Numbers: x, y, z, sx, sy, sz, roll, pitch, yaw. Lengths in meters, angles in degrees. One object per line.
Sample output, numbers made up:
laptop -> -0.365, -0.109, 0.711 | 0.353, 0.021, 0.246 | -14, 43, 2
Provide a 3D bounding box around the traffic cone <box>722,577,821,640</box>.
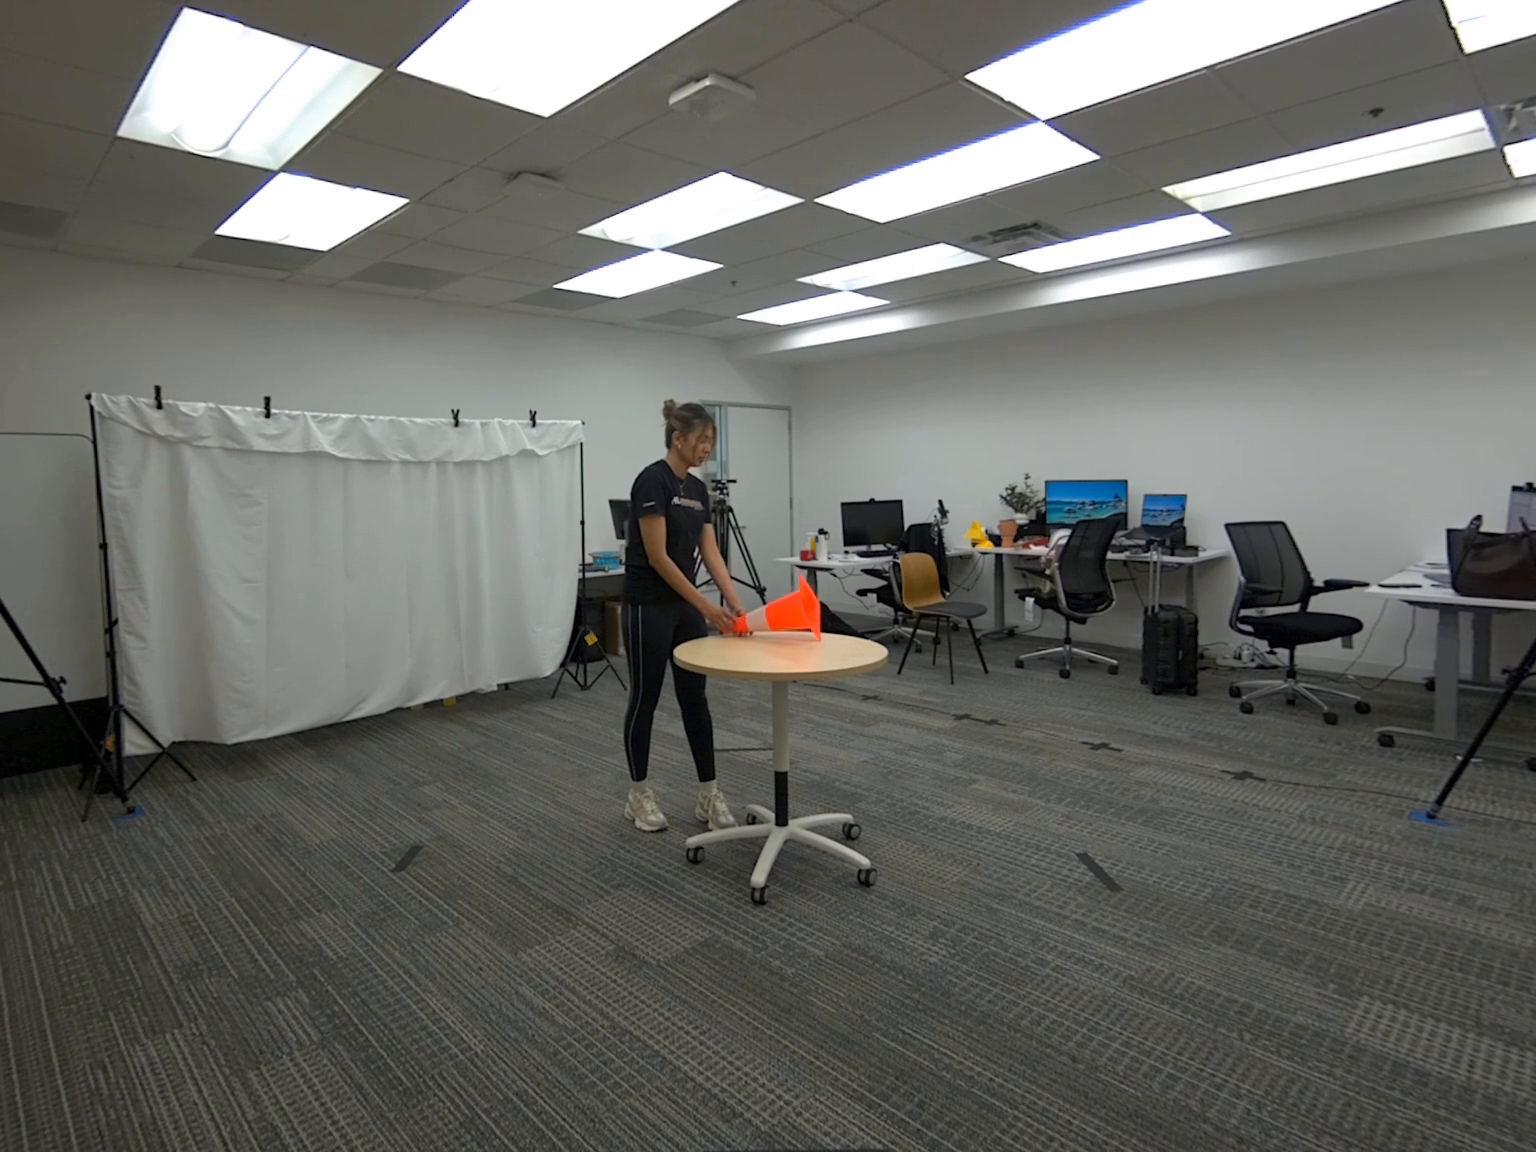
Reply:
traffic cone -> -0.008, 0.166, 3.315 | 0.389, 0.197, 0.208 | -15, 40, 21
